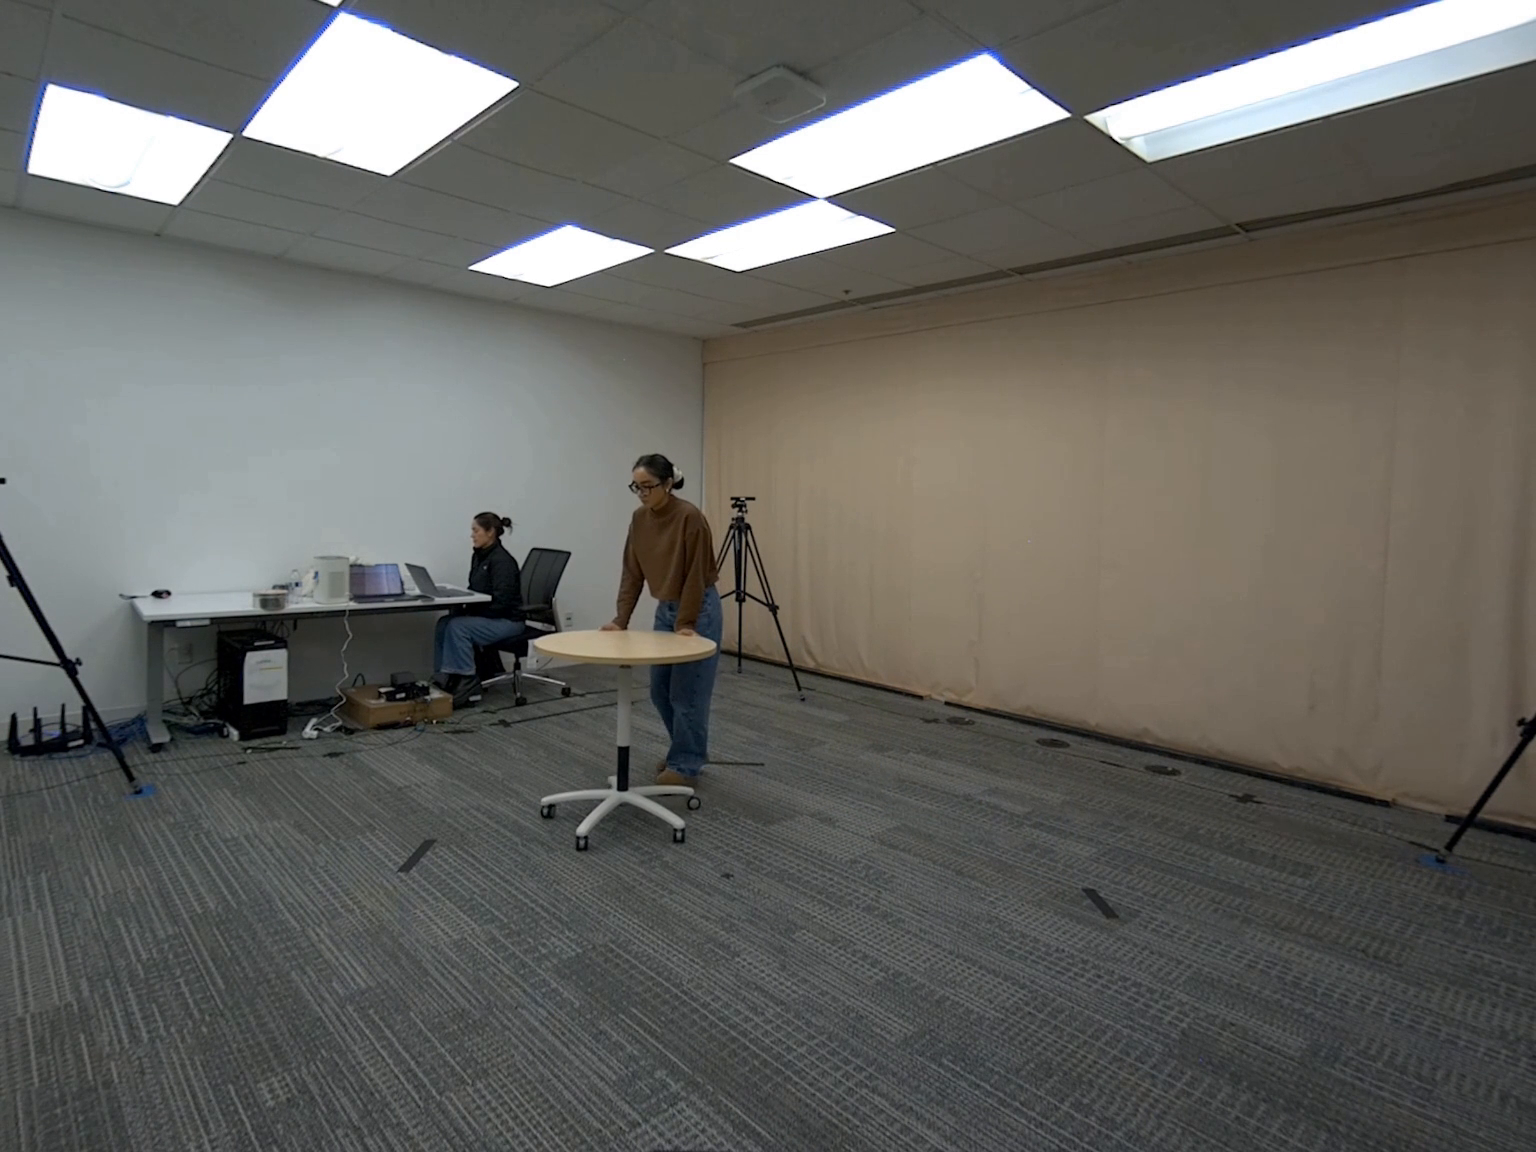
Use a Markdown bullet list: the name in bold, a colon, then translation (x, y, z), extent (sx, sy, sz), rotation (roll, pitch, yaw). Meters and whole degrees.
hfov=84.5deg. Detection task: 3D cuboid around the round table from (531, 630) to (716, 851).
- **round table**: translation (-0.627, 0.671, 3.582), extent (0.763, 0.792, 0.766), rotation (2, 3, -1)
